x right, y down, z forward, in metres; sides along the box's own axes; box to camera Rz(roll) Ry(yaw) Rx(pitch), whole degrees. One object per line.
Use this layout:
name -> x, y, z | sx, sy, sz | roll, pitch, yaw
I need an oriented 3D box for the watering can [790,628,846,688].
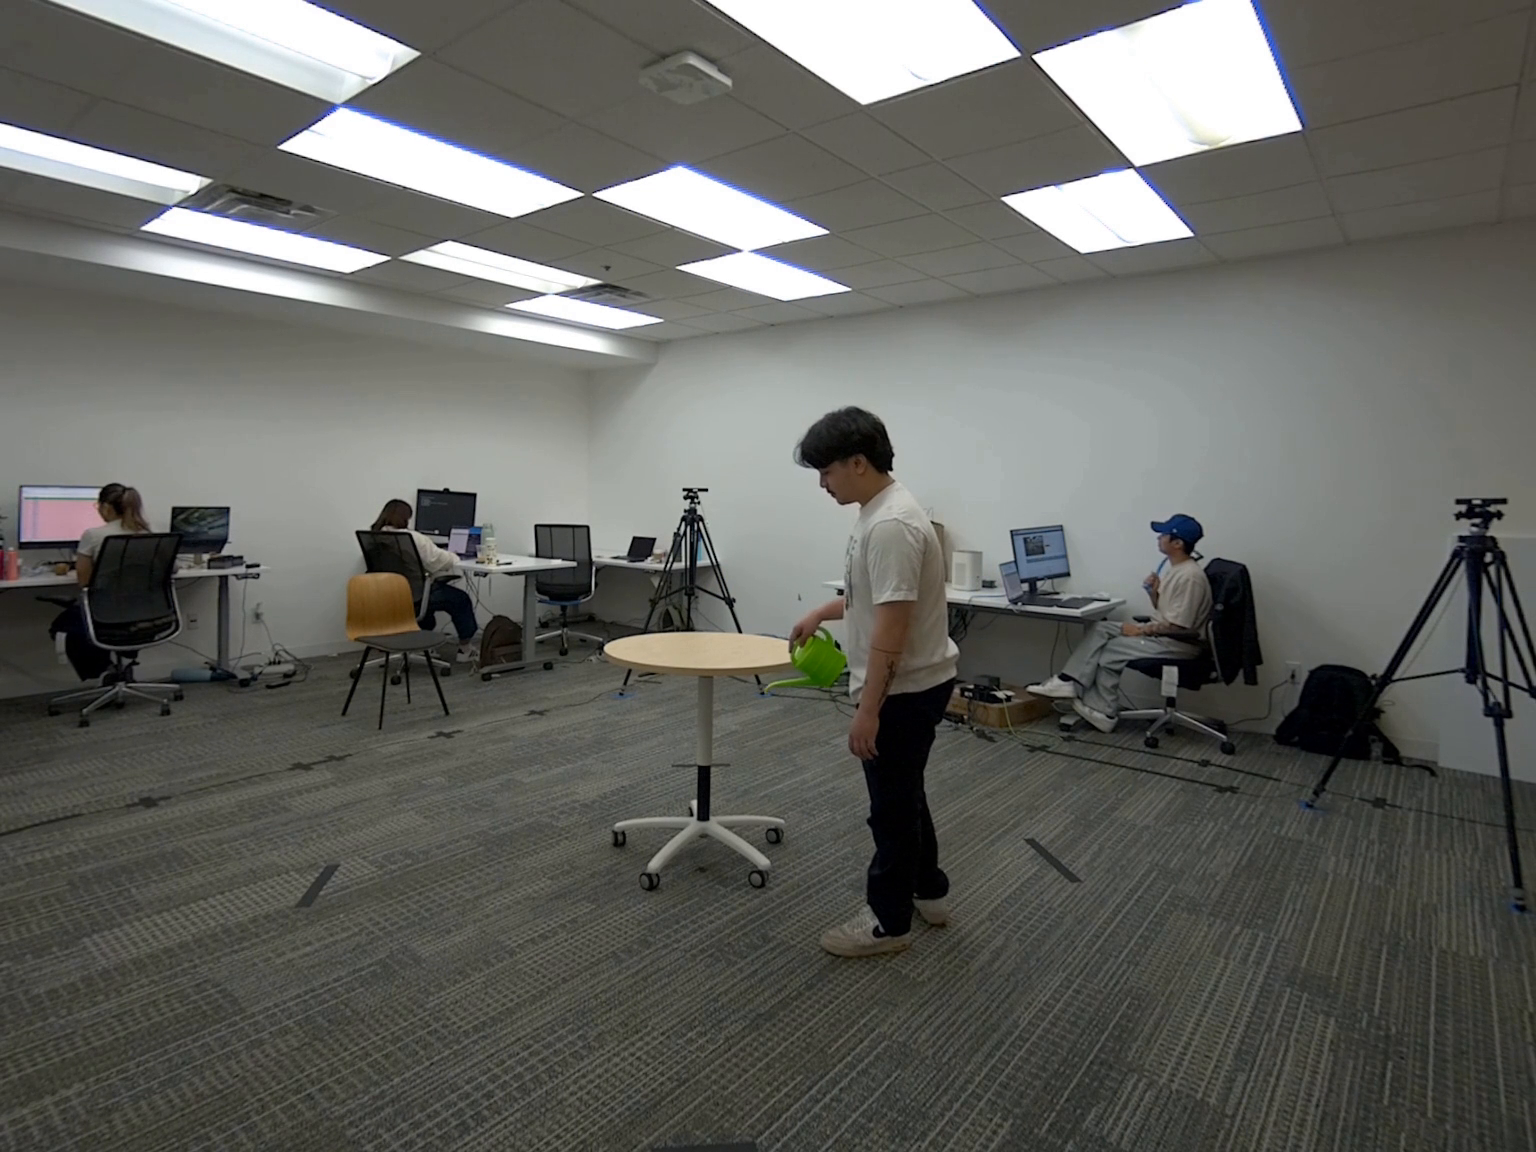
watering can -> 0.123, 0.301, 2.804 | 0.173, 0.278, 0.100 | 37, 6, -15
